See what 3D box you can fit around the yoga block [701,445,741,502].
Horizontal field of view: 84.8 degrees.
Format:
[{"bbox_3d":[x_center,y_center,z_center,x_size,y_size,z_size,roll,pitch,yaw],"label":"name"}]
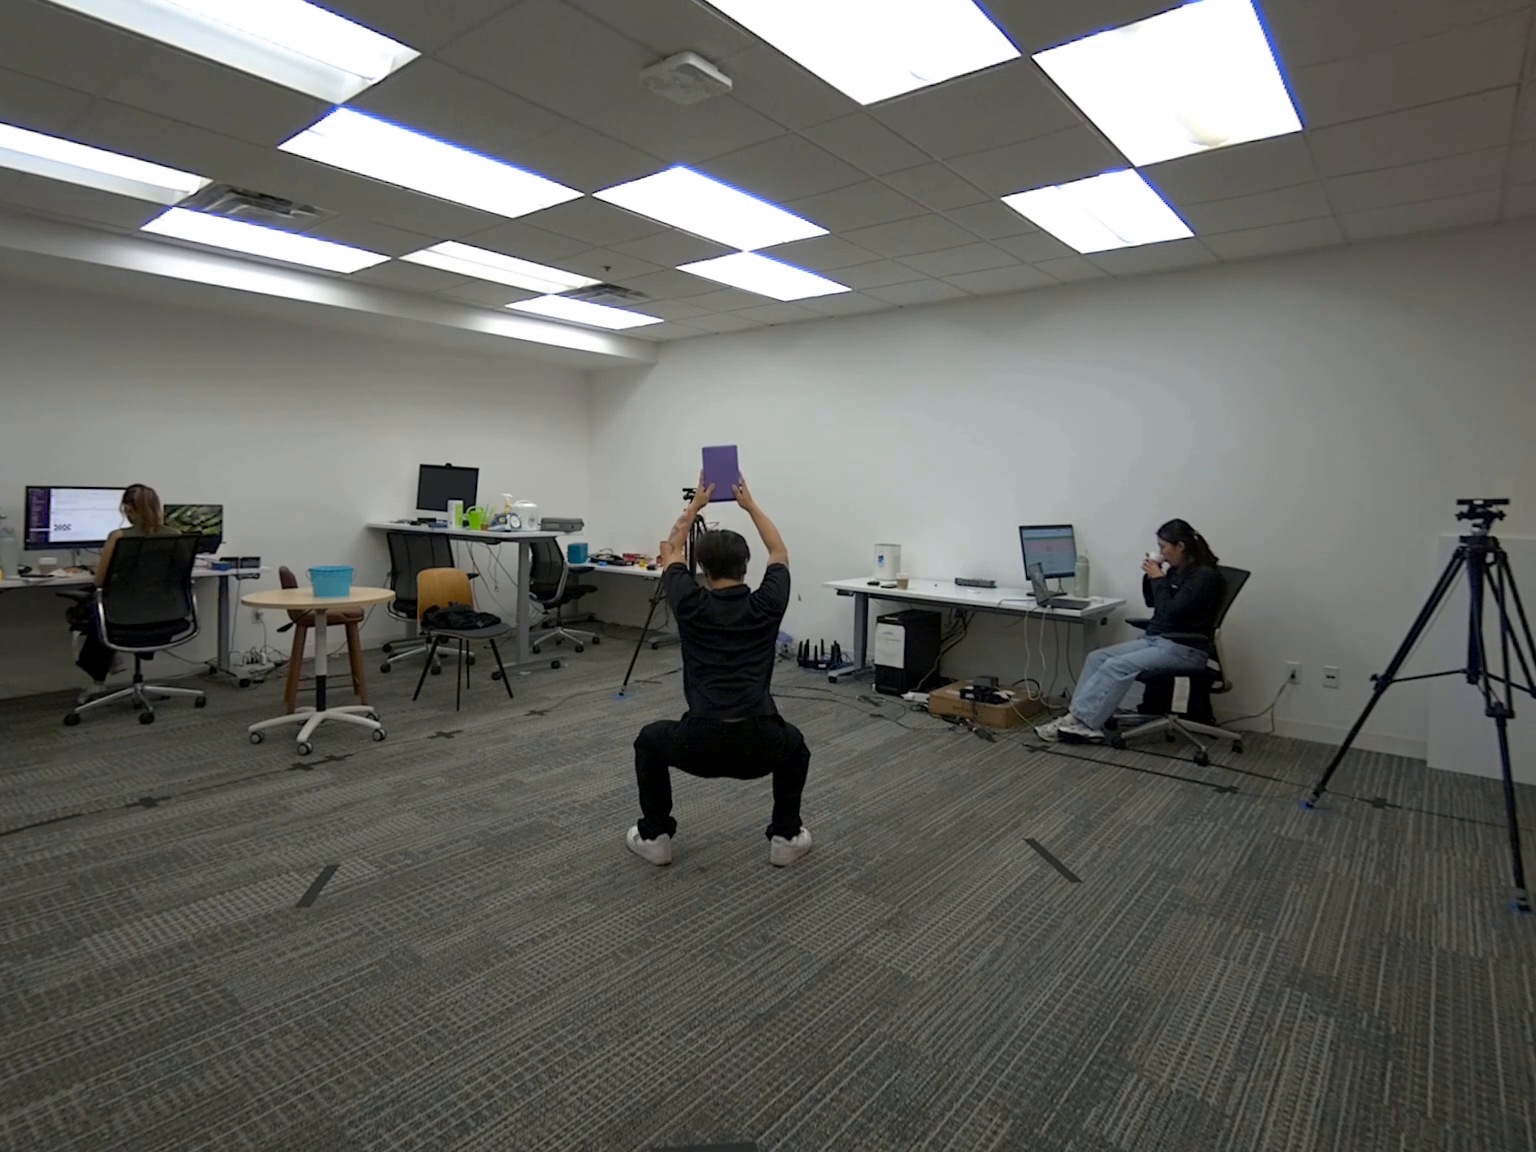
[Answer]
[{"bbox_3d":[-0.206,-0.434,3.549,0.149,0.230,0.076,-5,-1,-1],"label":"yoga block"}]
